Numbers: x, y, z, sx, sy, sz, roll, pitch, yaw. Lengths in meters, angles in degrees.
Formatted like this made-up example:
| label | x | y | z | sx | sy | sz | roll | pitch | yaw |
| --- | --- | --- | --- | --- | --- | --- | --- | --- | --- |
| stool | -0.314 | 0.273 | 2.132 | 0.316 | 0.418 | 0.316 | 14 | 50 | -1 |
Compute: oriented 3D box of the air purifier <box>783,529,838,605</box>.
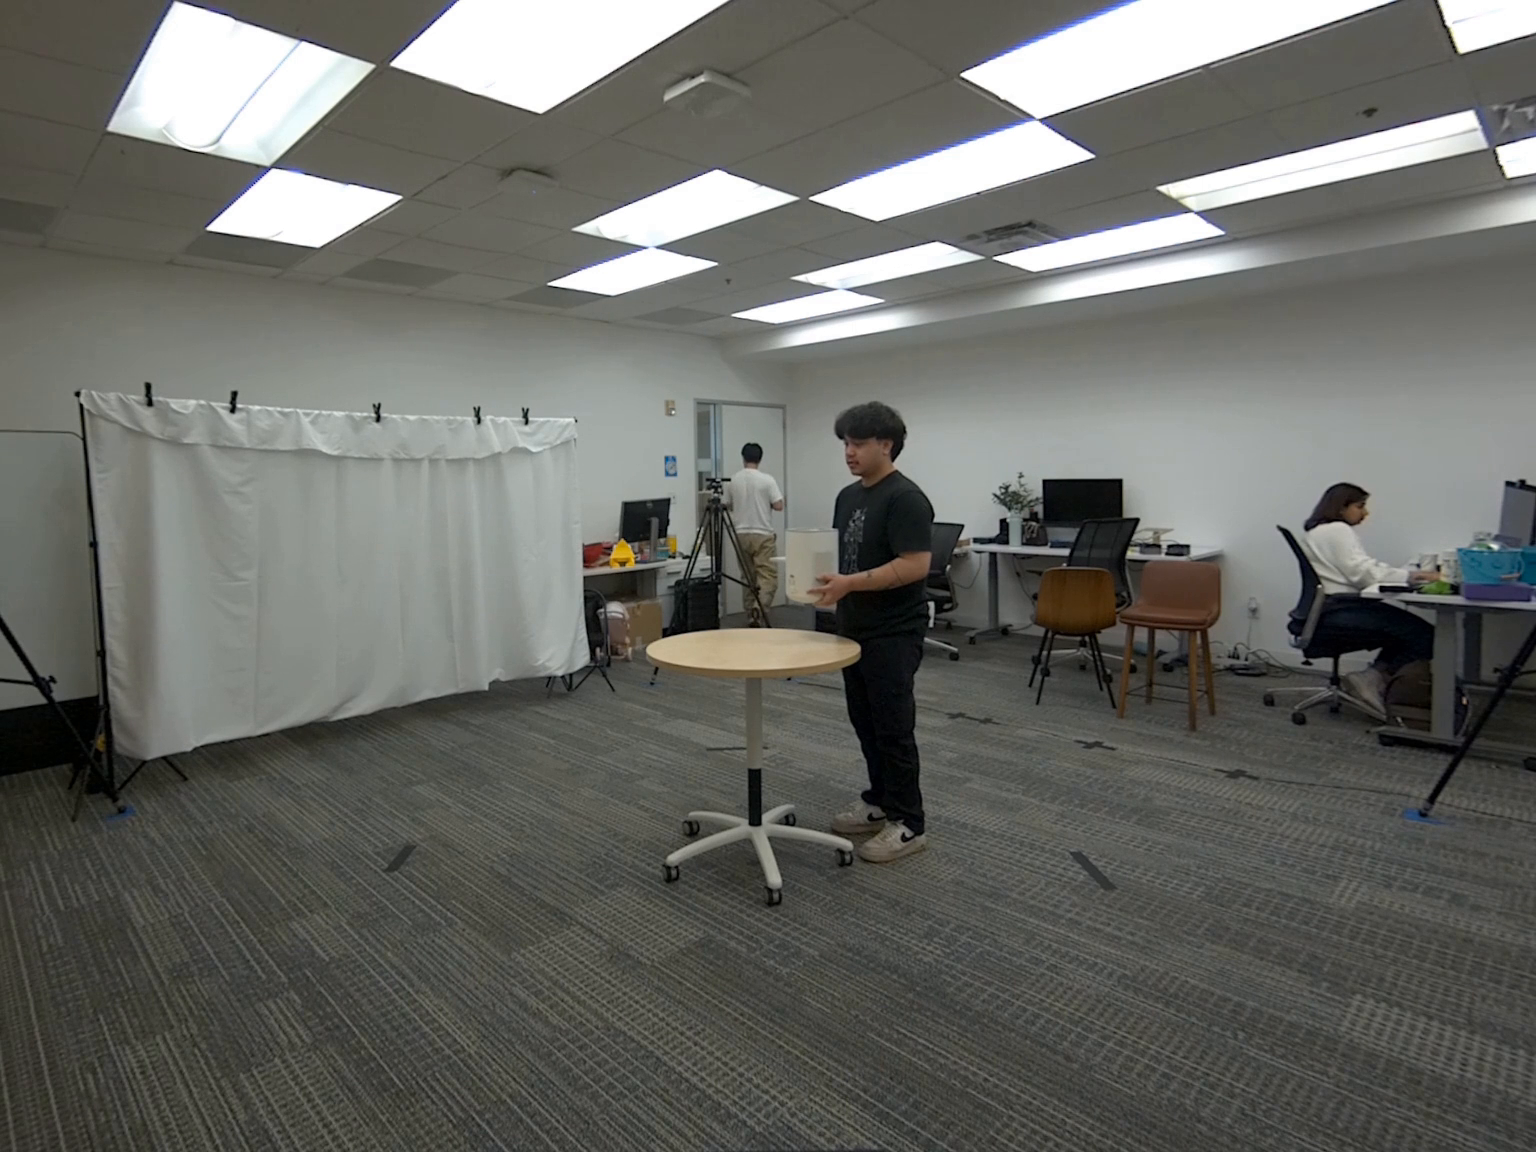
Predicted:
| label | x | y | z | sx | sy | sz | roll | pitch | yaw |
| --- | --- | --- | --- | --- | --- | --- | --- | --- | --- |
| air purifier | 0.171 | -0.042 | 3.160 | 0.168 | 0.264 | 0.176 | -2 | 6 | -27 |
